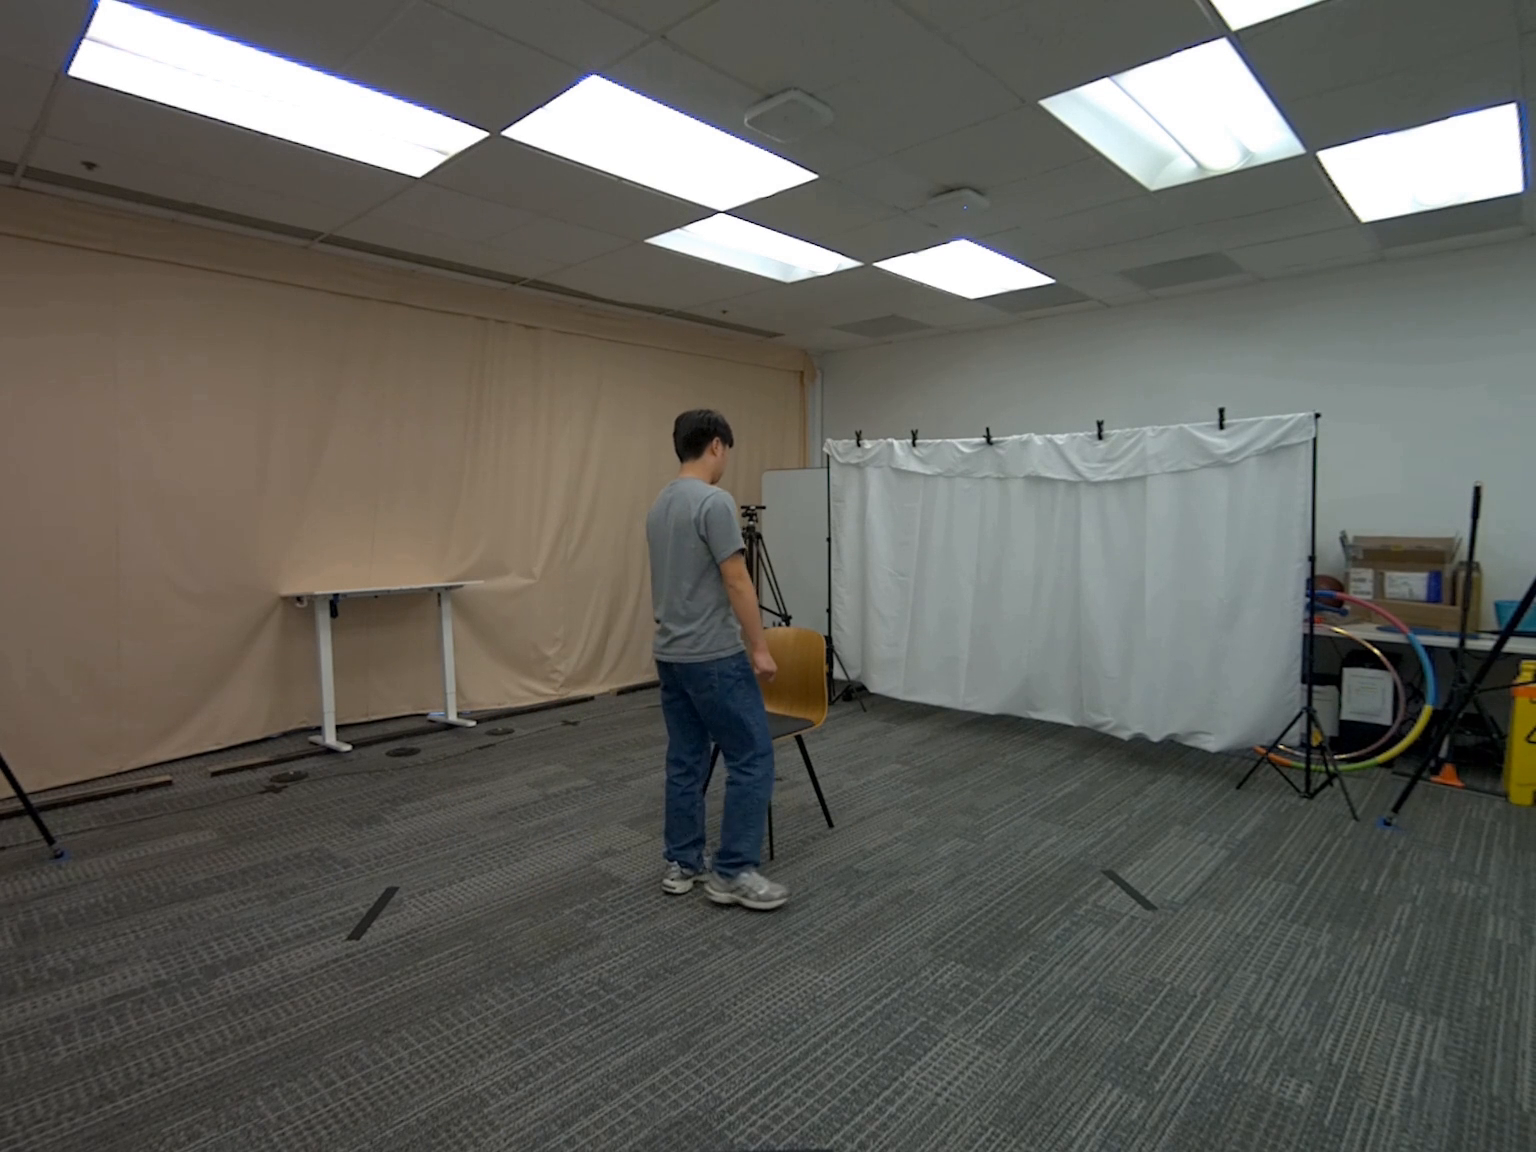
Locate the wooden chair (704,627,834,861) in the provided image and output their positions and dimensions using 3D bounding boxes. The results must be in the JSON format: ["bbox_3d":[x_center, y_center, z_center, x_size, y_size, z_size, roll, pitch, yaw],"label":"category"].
[{"bbox_3d":[-0.031,0.666,3.580,0.493,0.877,0.506,2,0,38],"label":"wooden chair"}]
